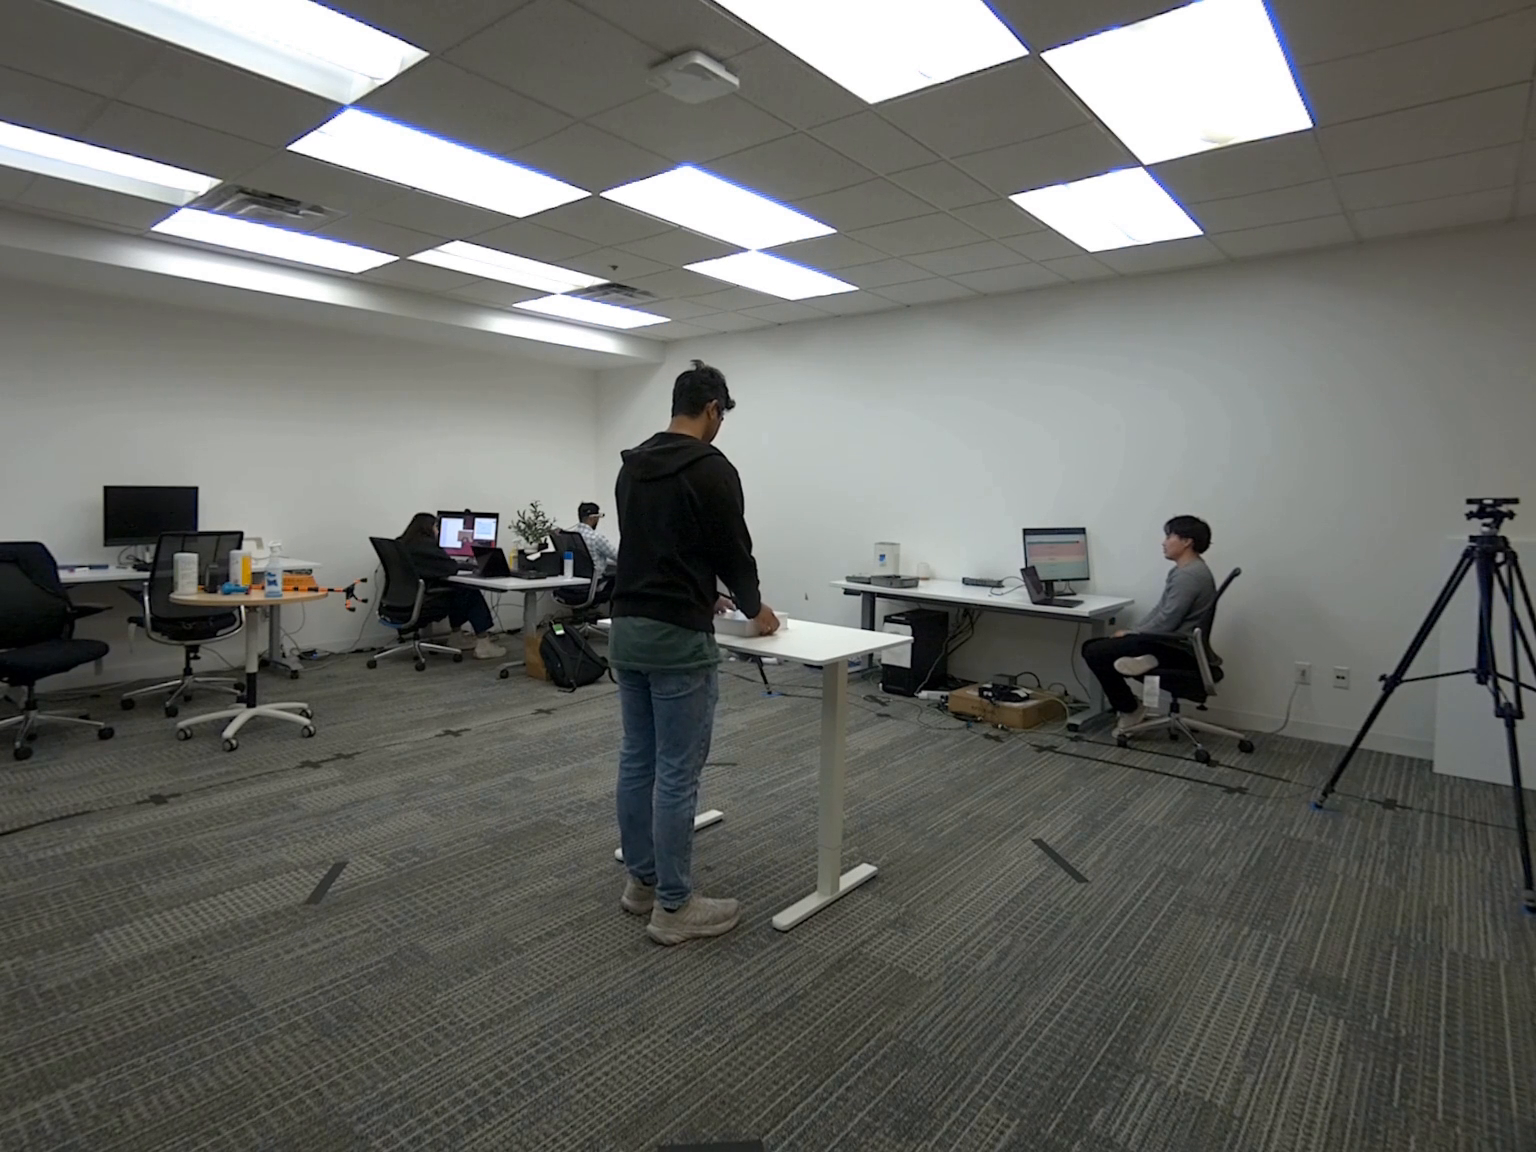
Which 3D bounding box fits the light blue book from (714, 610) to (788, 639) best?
[{"bbox_3d":[-0.078,0.165,3.060,0.198,0.059,0.254,5,8,36],"label":"light blue book"}]
